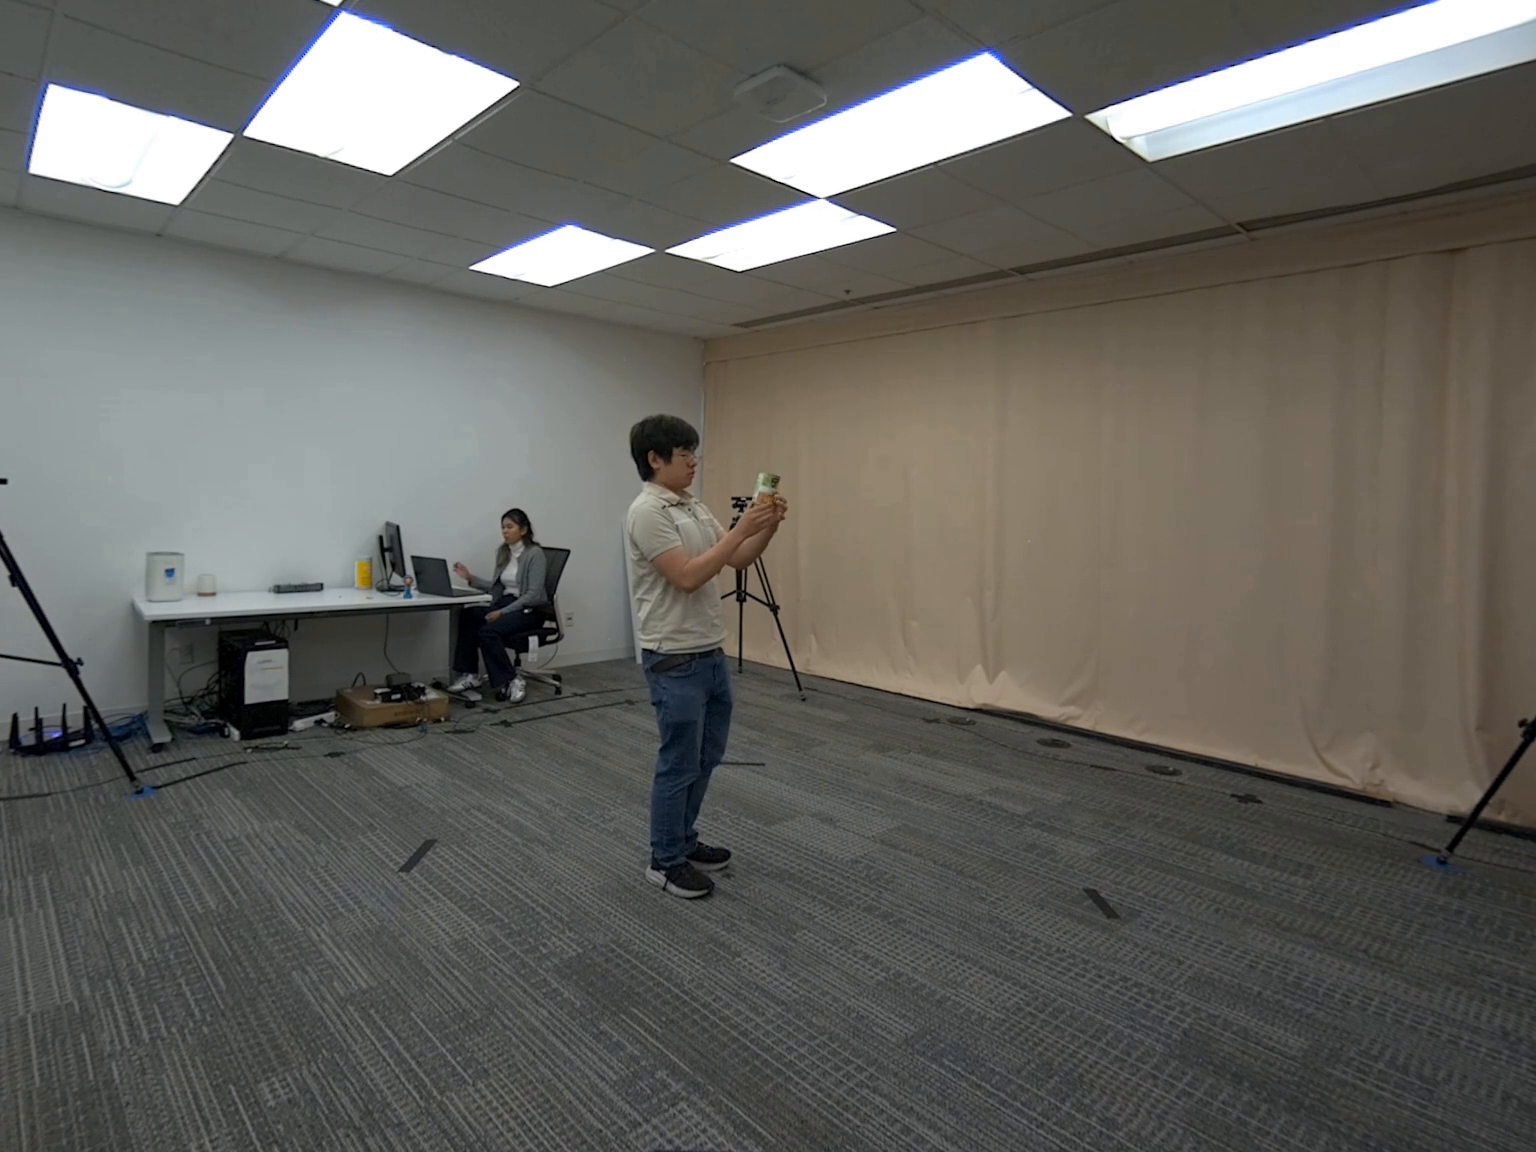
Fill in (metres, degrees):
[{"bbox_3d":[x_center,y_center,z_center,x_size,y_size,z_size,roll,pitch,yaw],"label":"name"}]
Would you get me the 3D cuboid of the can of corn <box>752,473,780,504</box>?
[{"bbox_3d":[-0.024,-0.293,2.875,0.074,0.111,0.074,13,1,-2],"label":"can of corn"}]
